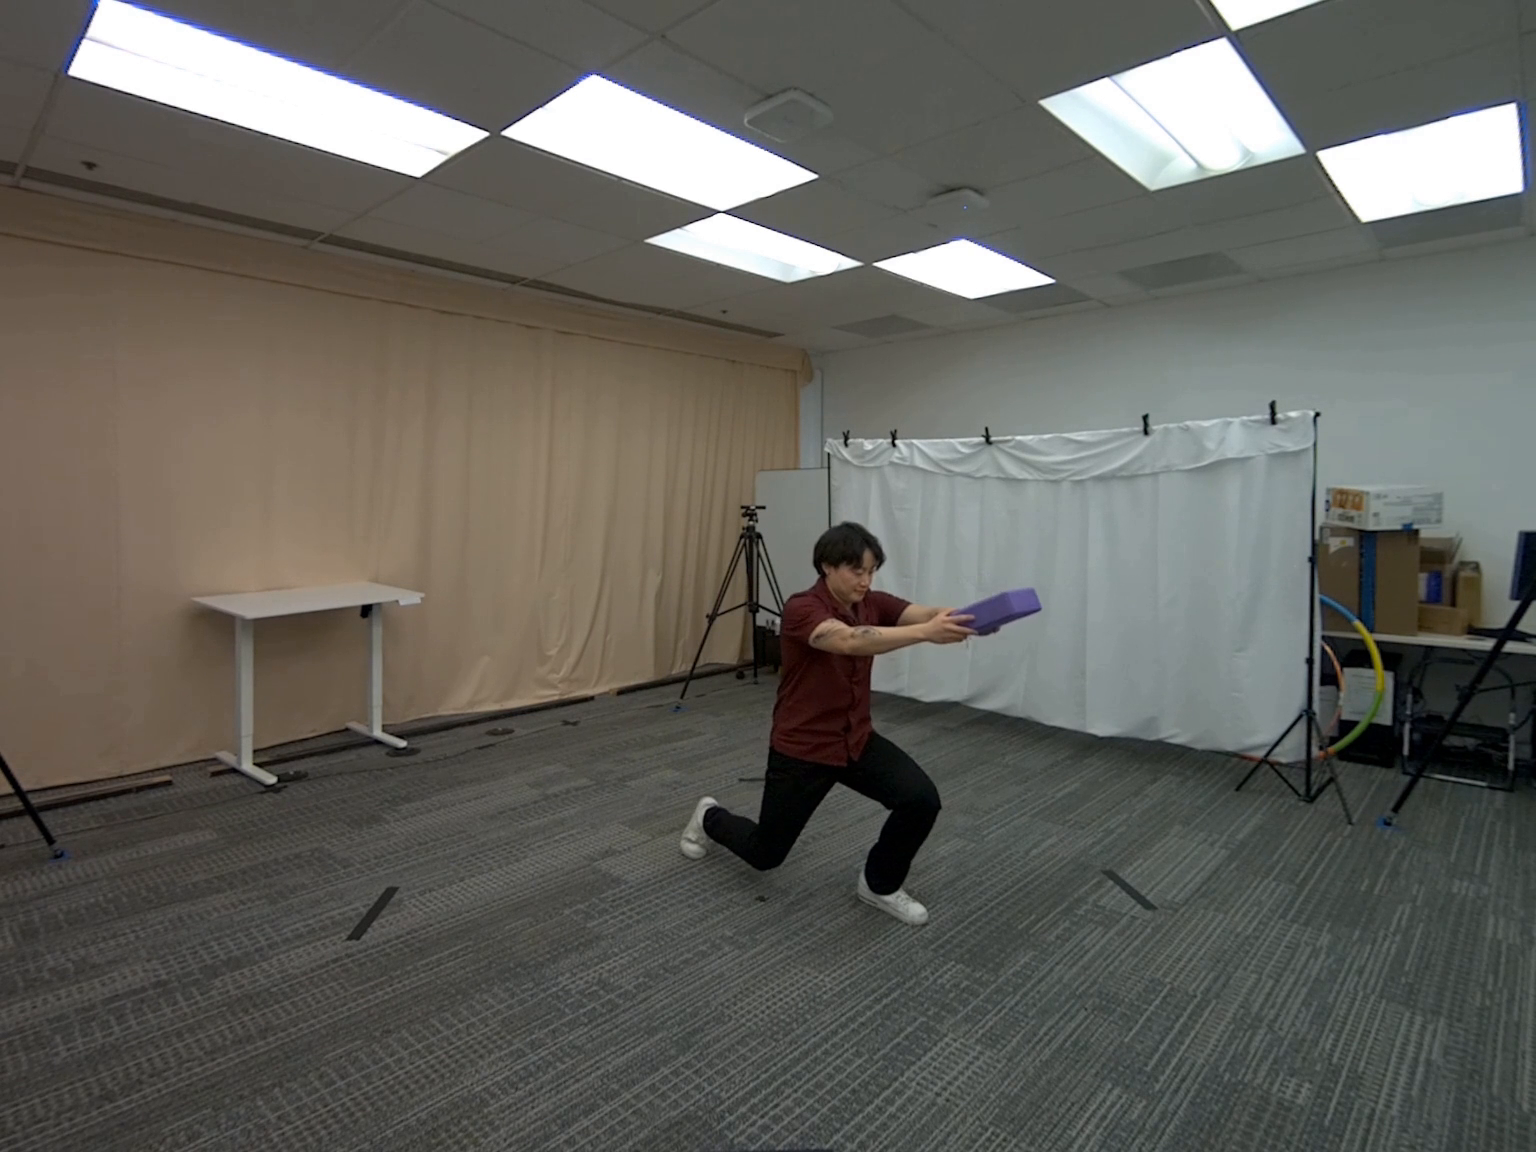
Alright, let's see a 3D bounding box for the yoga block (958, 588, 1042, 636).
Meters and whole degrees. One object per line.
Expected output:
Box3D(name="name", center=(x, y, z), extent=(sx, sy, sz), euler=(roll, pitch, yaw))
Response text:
Box3D(name="yoga block", center=(0.672, 0.102, 2.497), extent=(0.144, 0.077, 0.233), euler=(-5, -16, -41))
